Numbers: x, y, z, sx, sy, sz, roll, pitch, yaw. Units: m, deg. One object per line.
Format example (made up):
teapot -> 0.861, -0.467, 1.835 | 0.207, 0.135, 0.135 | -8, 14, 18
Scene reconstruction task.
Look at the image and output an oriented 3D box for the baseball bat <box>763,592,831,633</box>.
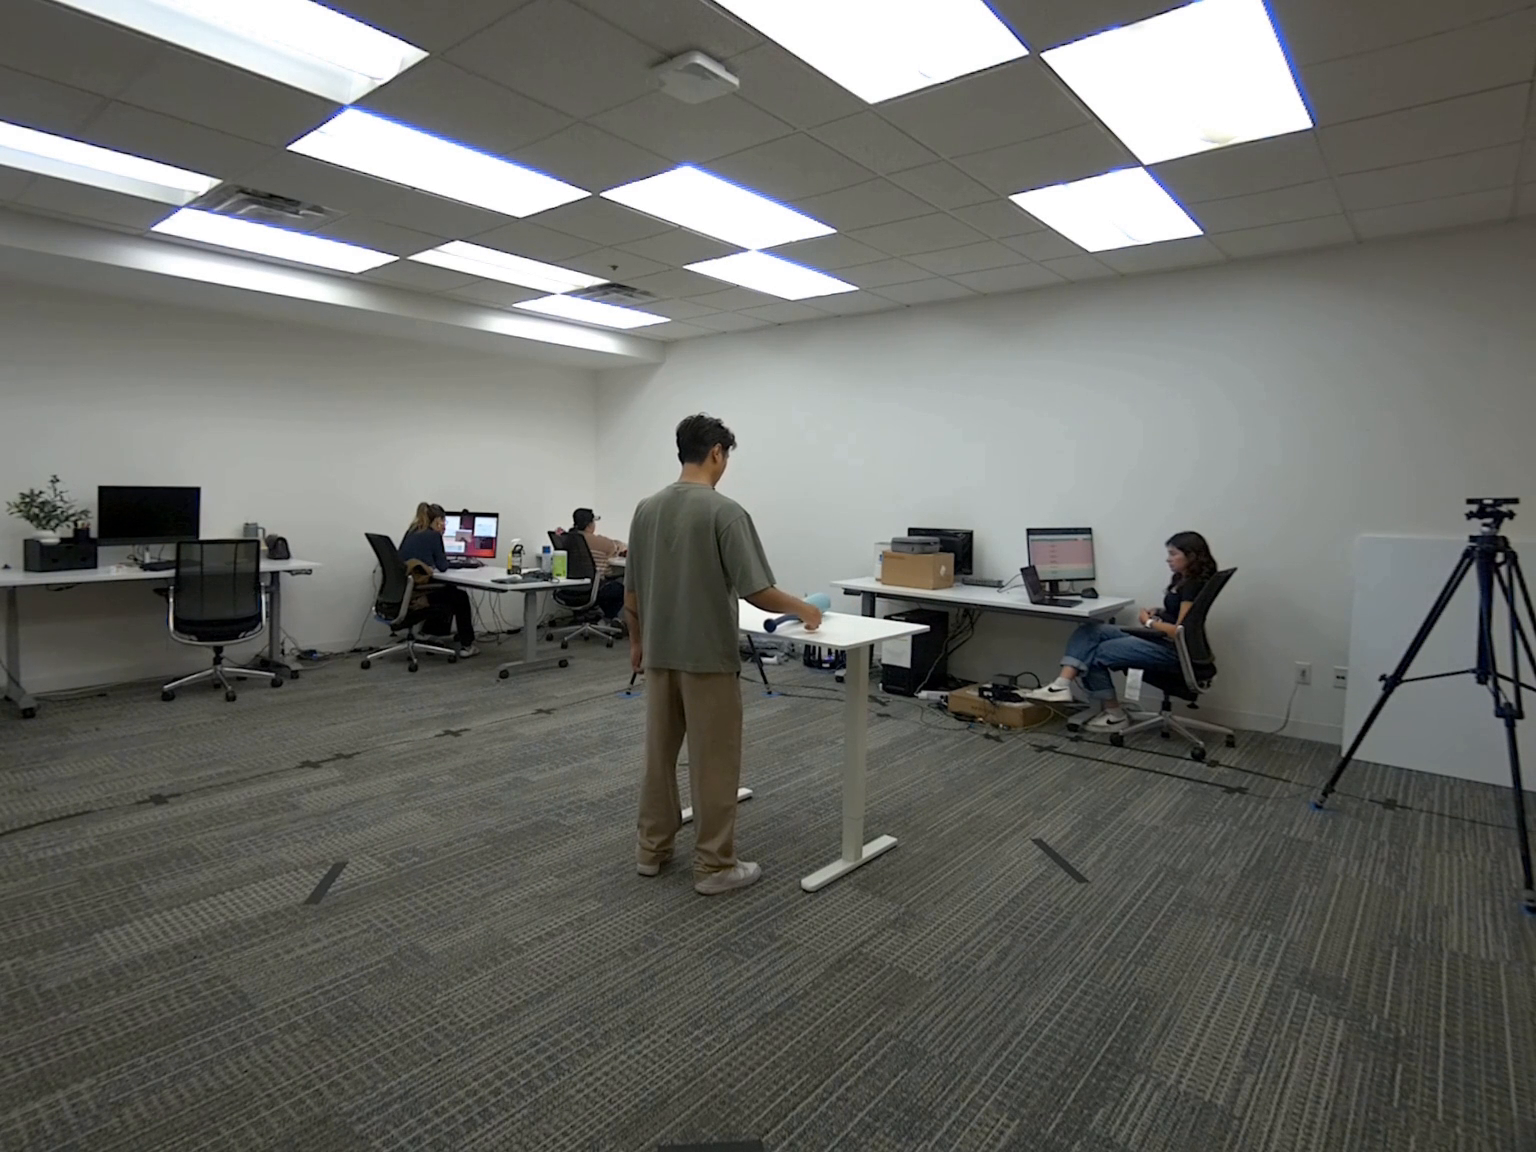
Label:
baseball bat -> 0.116, 0.143, 3.260 | 0.091, 0.088, 0.533 | 3, 9, 24
